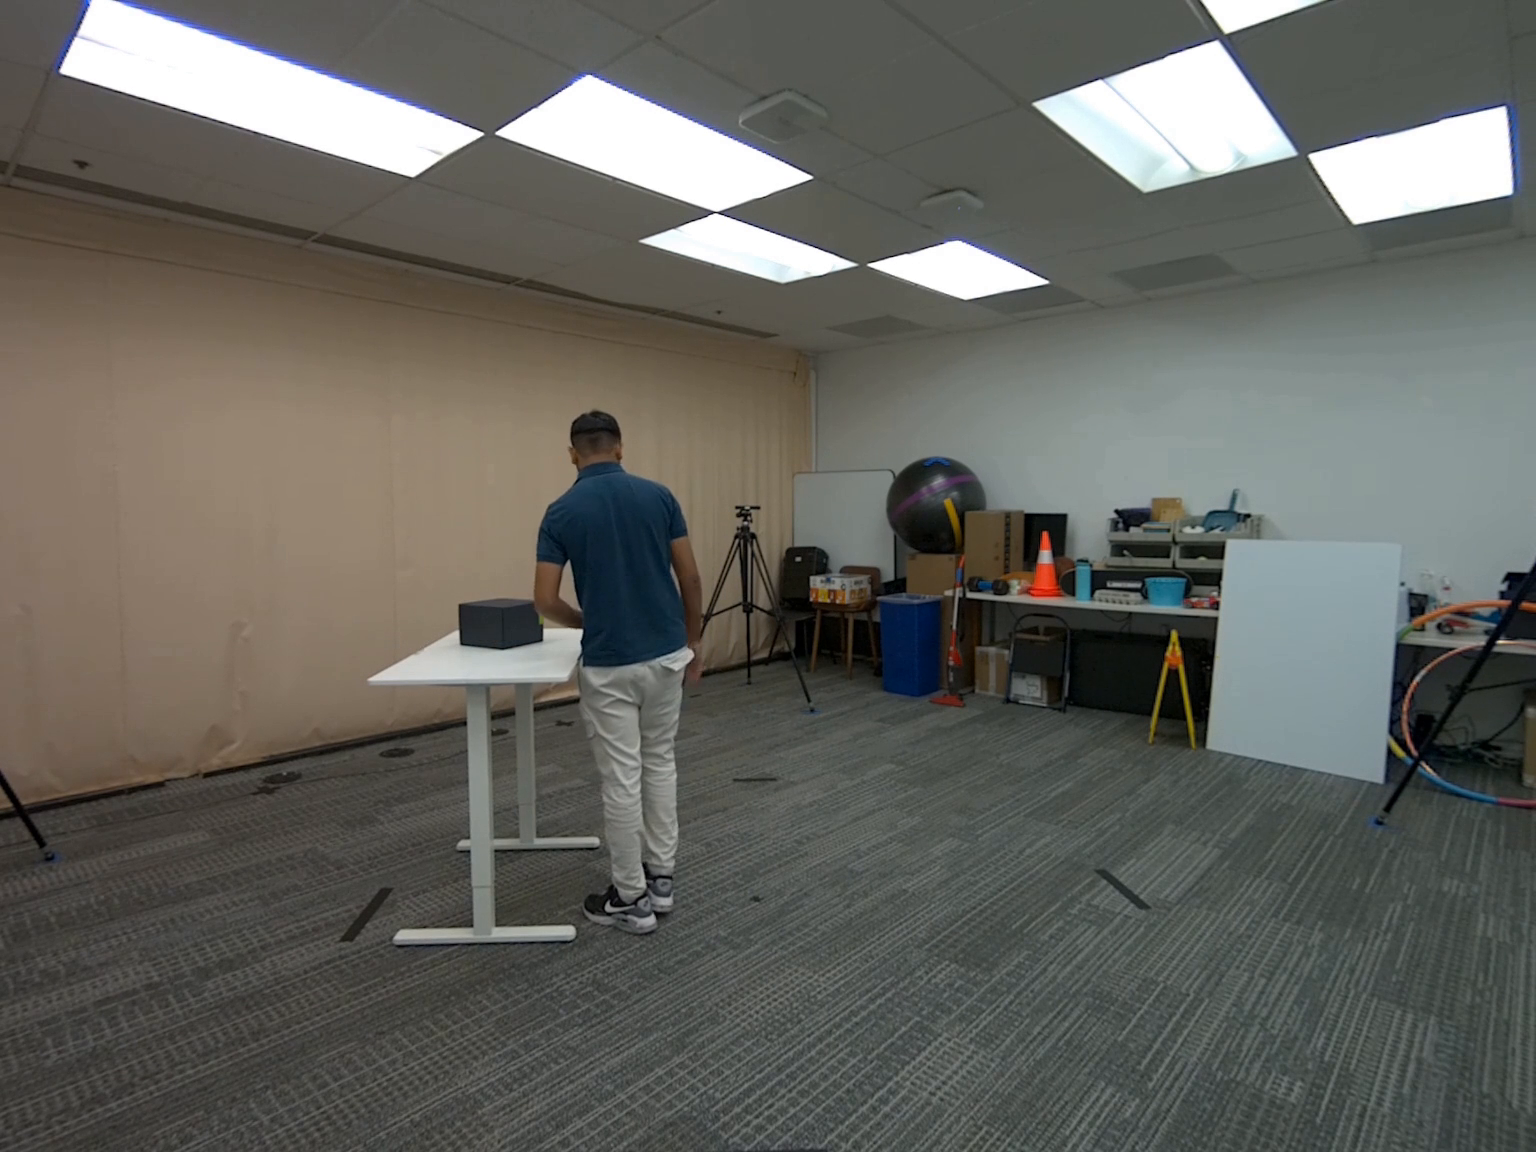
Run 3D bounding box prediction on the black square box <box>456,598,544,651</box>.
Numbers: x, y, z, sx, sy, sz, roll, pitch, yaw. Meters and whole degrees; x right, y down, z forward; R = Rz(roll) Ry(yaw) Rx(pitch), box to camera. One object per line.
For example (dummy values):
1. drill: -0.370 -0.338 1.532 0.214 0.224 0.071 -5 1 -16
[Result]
1. black square box: -1.004 0.175 3.176 0.234 0.155 0.211 1 4 30
